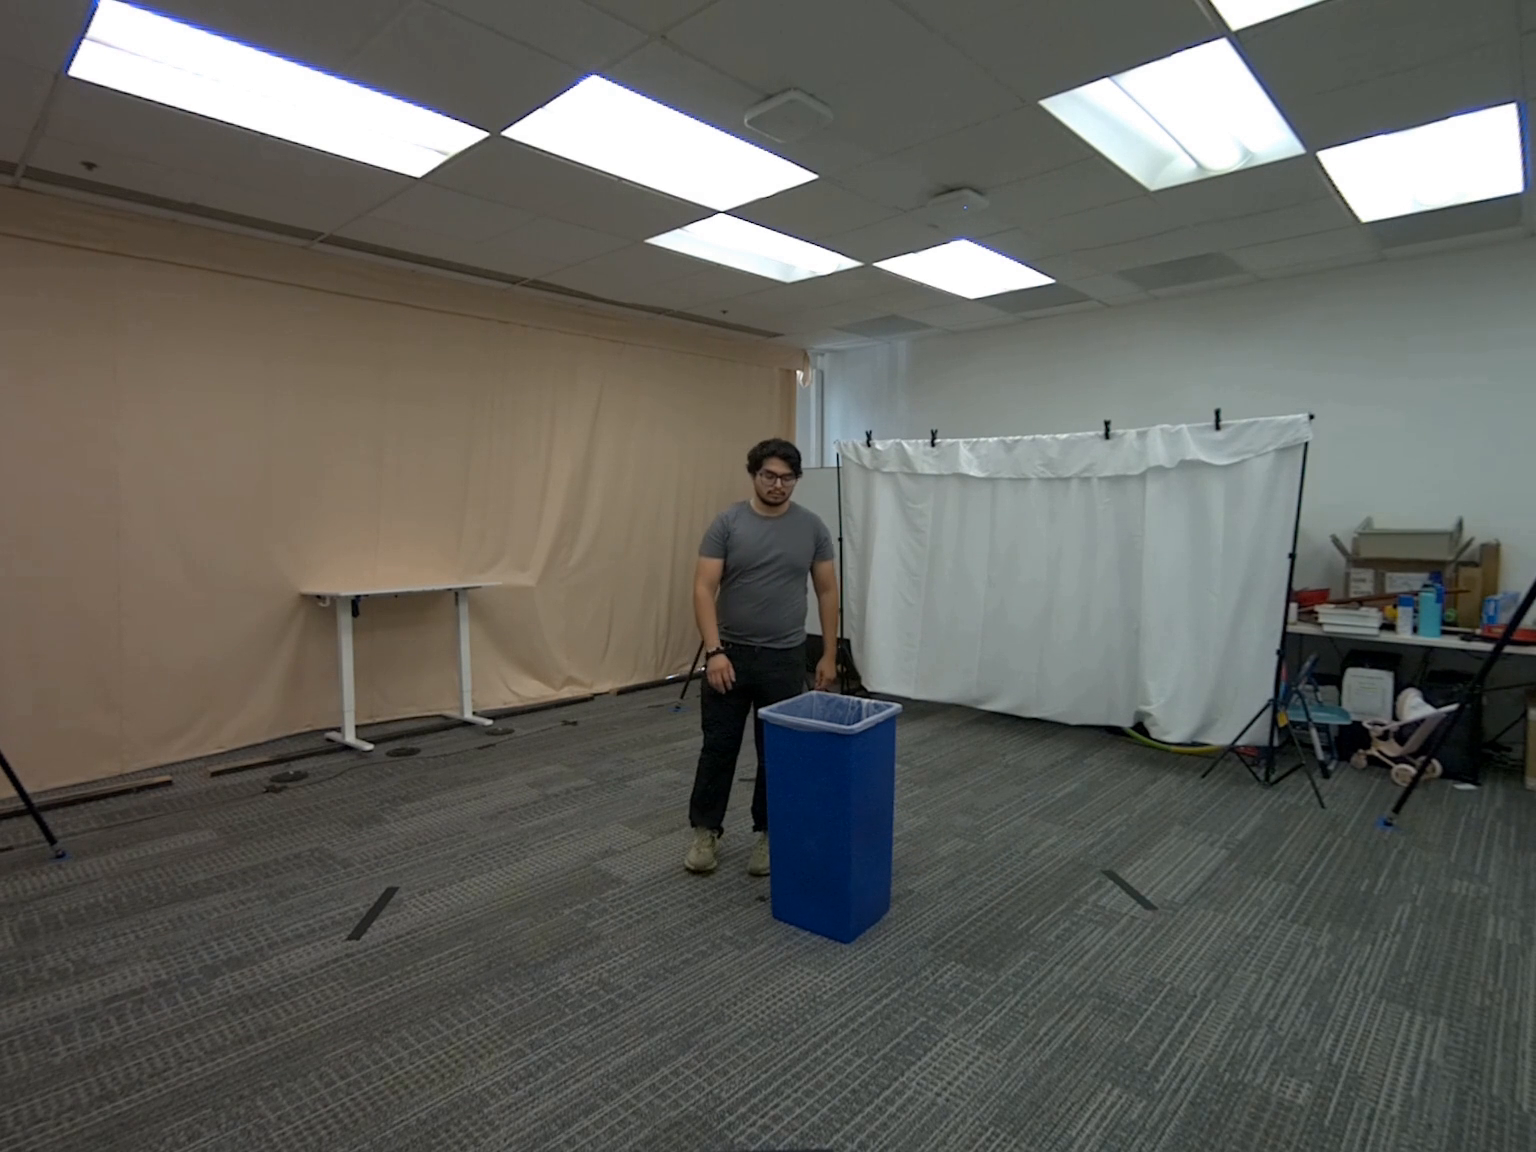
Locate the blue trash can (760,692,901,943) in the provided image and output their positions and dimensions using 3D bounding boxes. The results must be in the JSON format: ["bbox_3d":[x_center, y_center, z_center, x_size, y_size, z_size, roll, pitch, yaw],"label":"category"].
[{"bbox_3d":[0.218,0.798,2.842,0.390,0.712,0.363,2,4,37],"label":"blue trash can"}]
